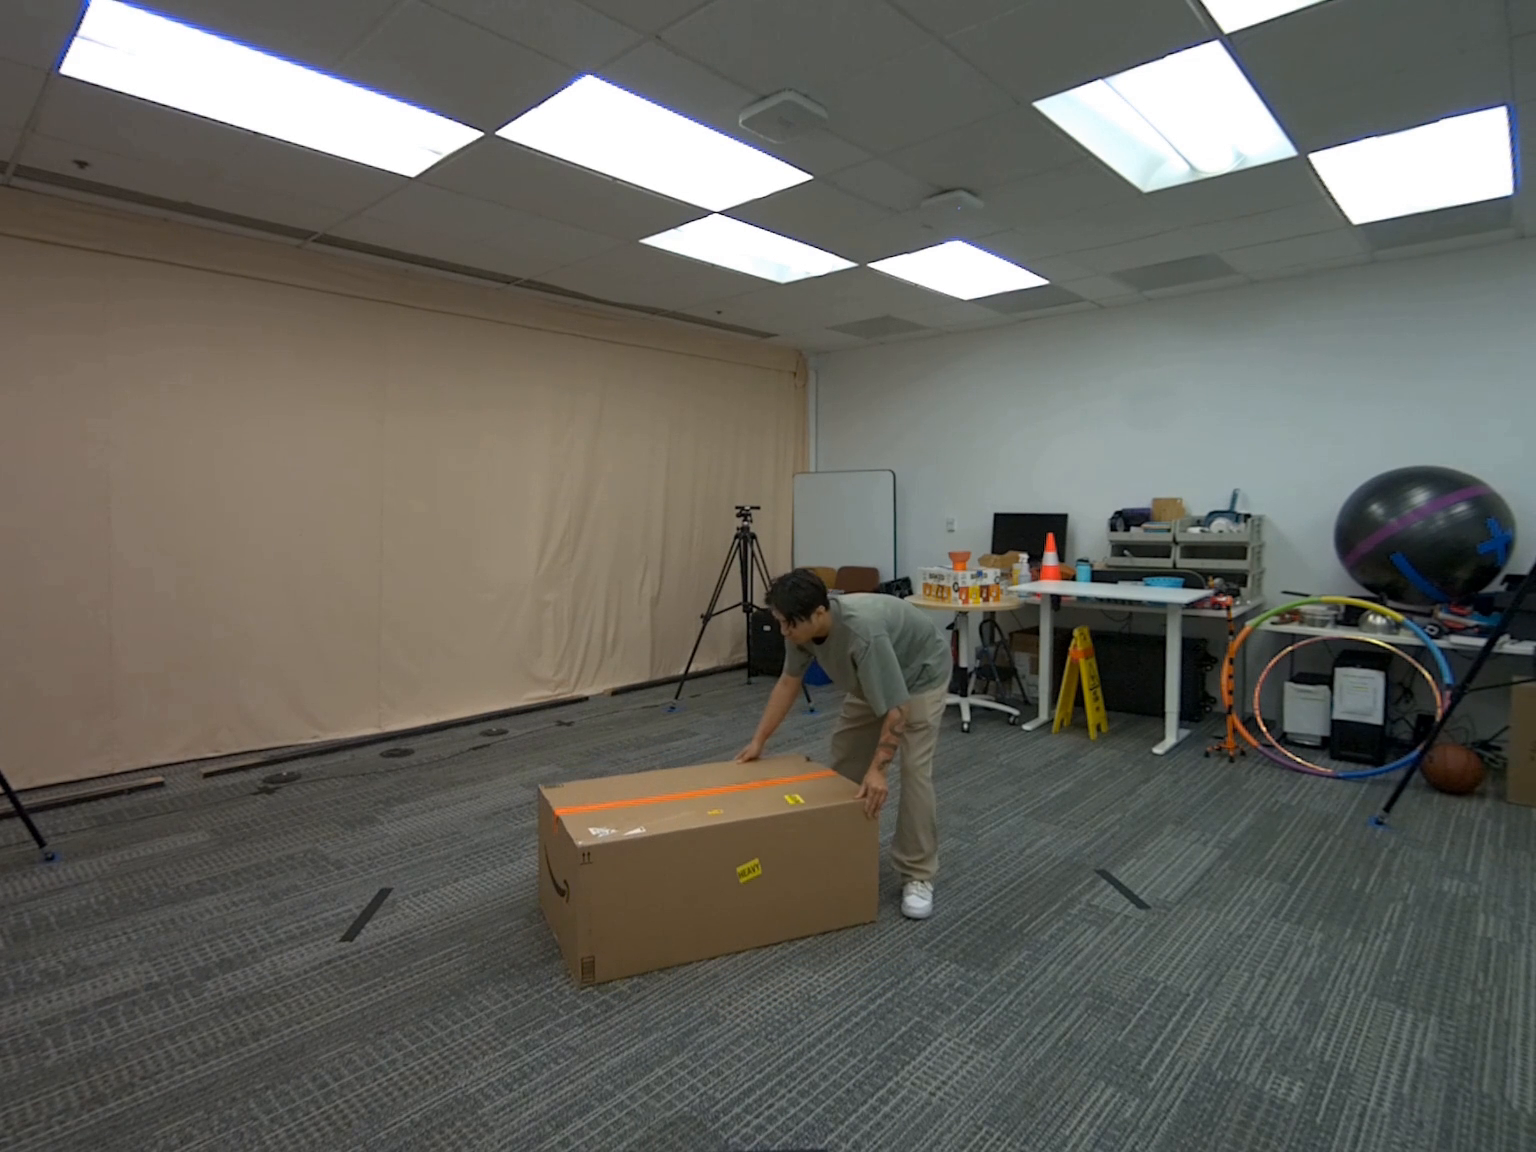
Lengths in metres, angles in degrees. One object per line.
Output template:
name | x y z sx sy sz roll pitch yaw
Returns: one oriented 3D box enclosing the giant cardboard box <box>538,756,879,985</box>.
giant cardboard box | -0.217 0.938 2.869 1.003 0.425 0.592 -2 4 -23
